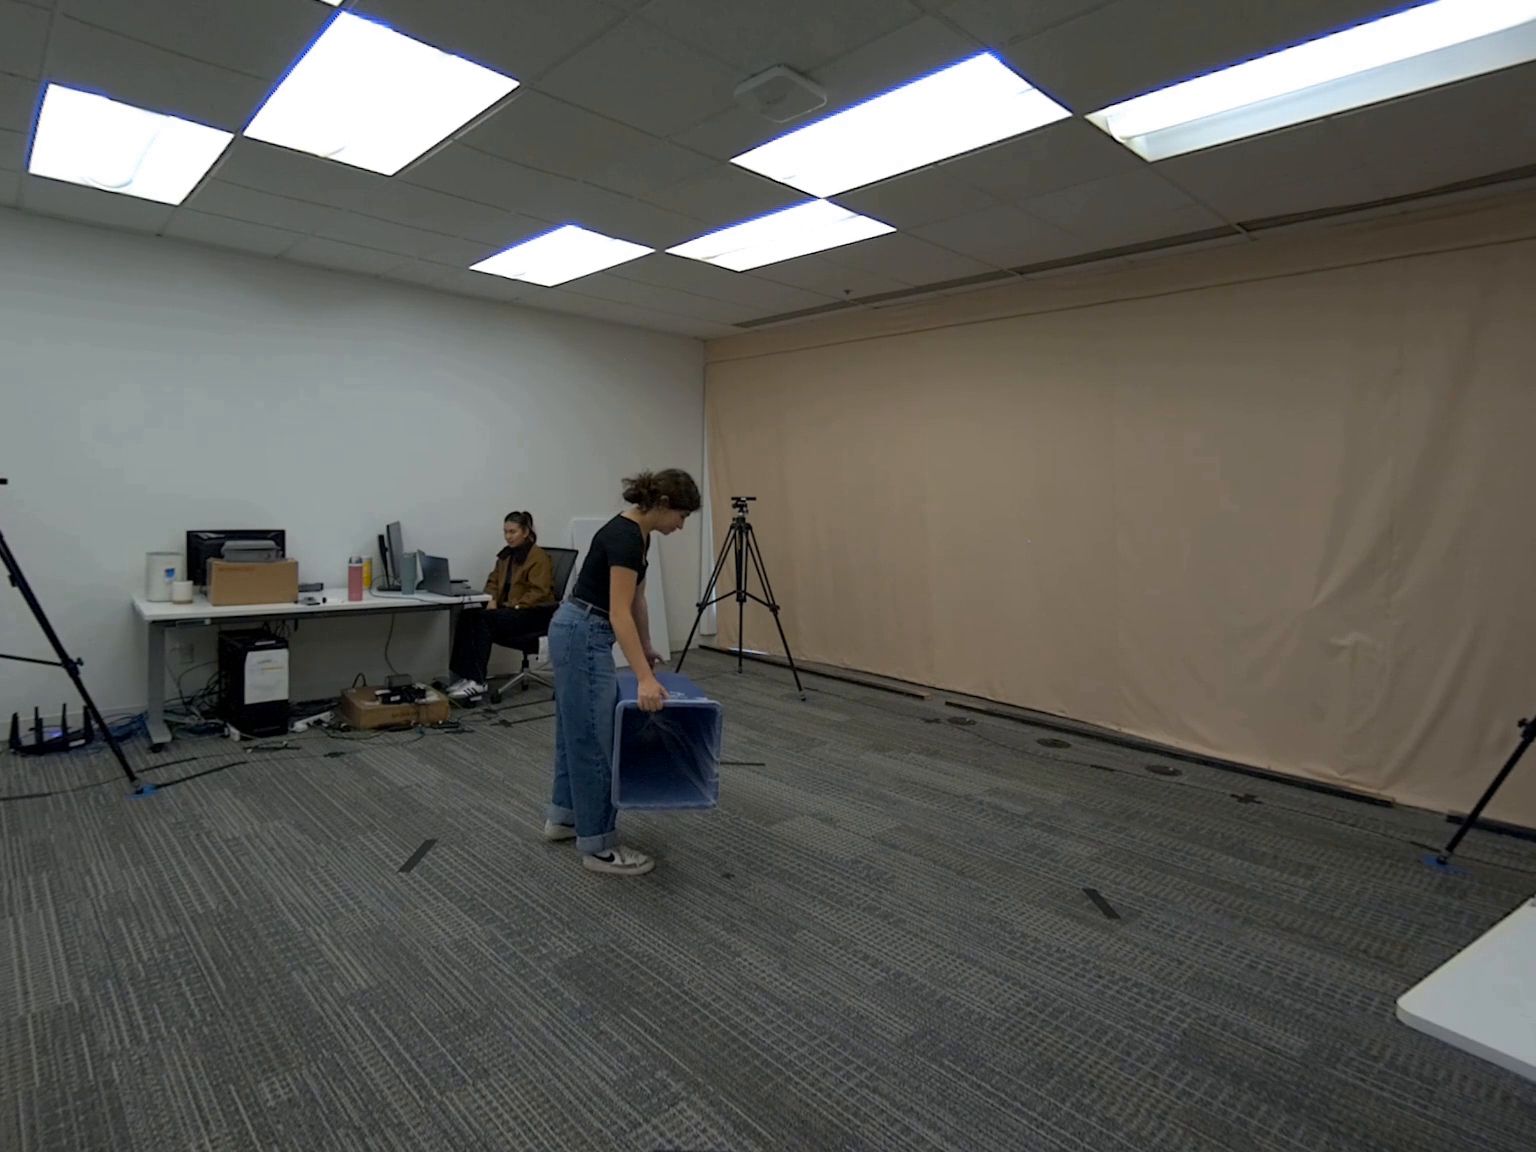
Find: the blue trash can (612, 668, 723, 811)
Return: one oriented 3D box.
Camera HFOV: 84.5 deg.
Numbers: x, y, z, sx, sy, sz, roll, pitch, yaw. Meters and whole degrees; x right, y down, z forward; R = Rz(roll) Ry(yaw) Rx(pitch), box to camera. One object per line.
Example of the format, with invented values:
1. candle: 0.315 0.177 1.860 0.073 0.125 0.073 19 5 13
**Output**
1. blue trash can: -0.427 0.590 3.206 0.374 0.373 0.722 2 2 -13
